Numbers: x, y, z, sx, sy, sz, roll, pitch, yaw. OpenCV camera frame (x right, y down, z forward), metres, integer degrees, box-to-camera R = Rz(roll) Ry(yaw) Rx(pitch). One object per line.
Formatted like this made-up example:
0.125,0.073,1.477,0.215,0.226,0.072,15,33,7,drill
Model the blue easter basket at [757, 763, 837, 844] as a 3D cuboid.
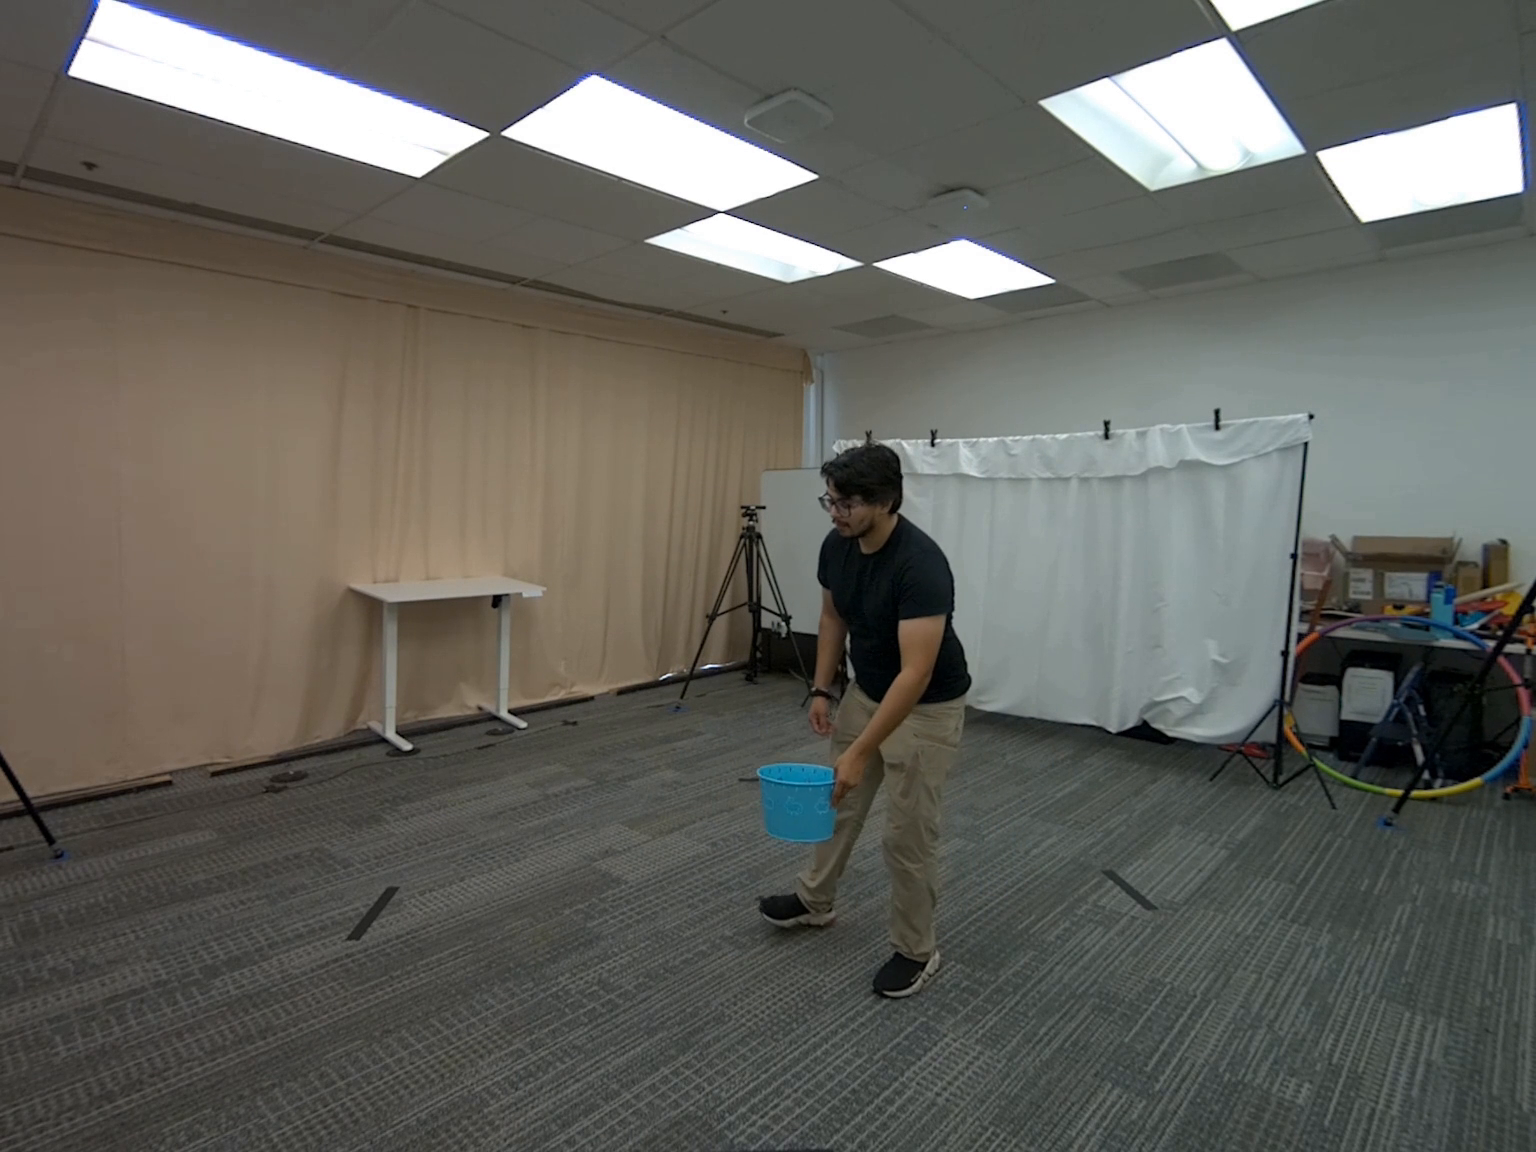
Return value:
0.094,0.601,2.208,0.243,0.156,0.244,2,0,-2,blue easter basket
